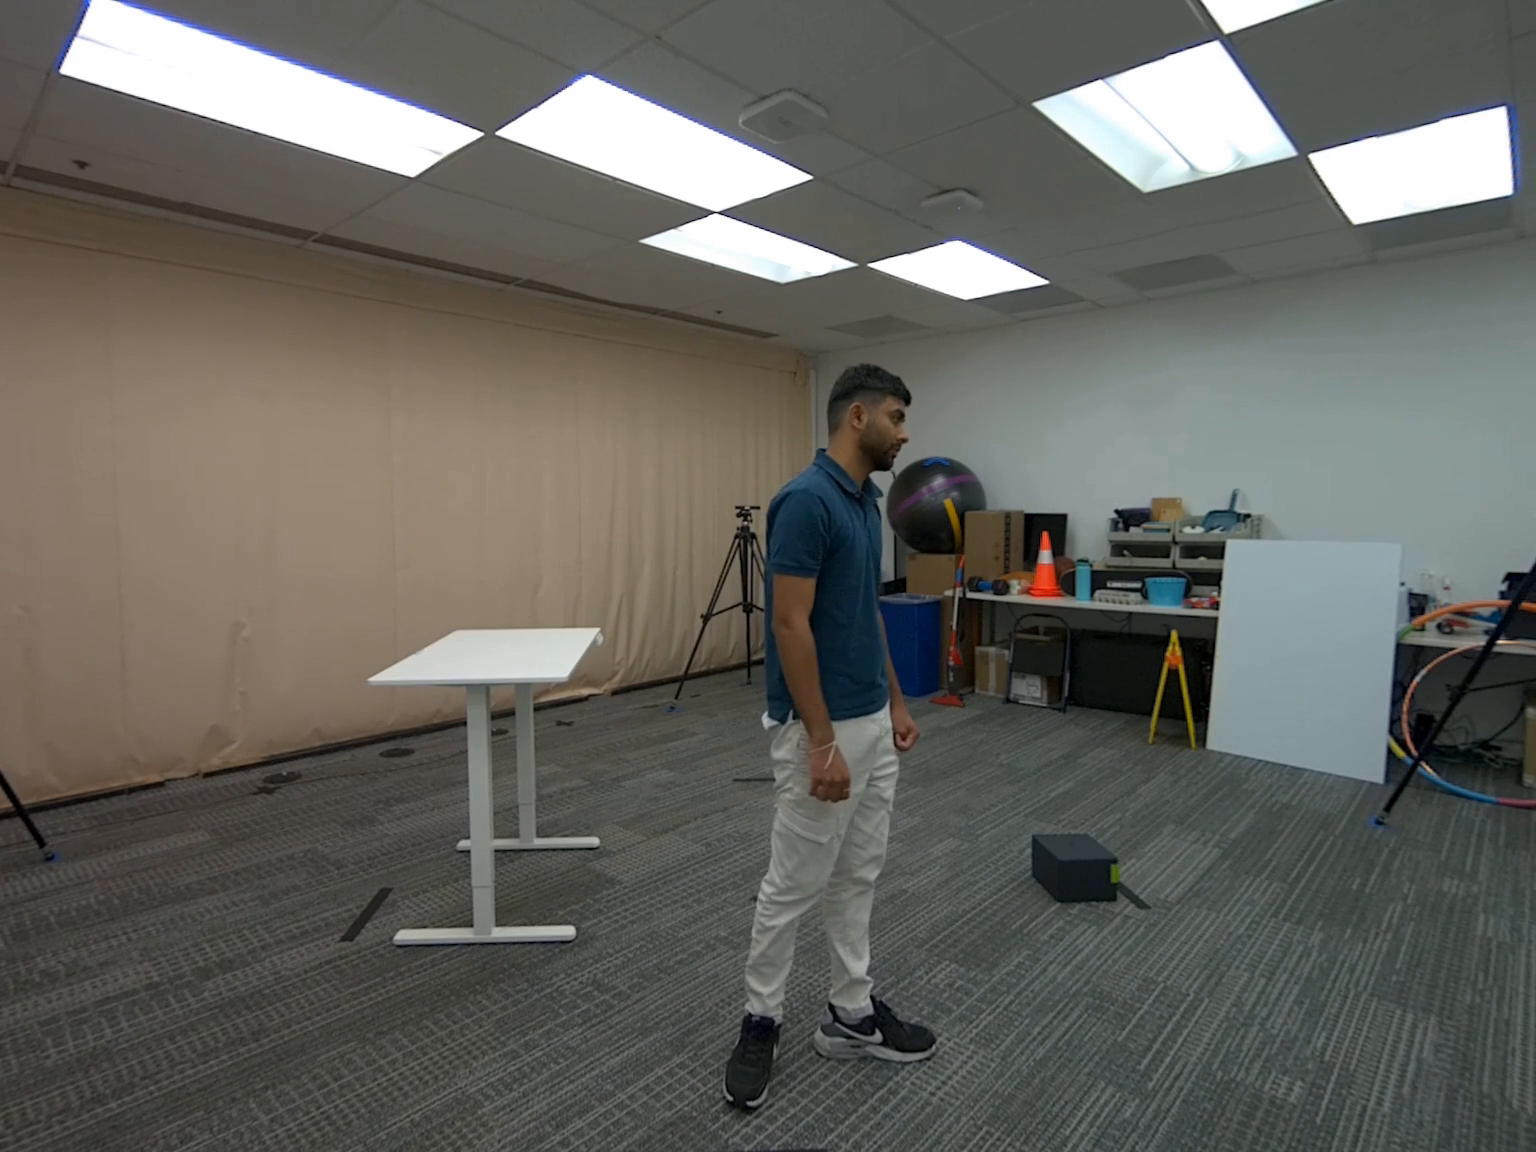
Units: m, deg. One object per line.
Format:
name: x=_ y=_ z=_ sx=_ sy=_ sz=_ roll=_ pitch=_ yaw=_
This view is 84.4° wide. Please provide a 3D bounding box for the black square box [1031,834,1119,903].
black square box: x=1.116 y=1.053 z=3.059 sx=0.216 sy=0.155 sz=0.229 roll=-1 pitch=4 yaw=-5
